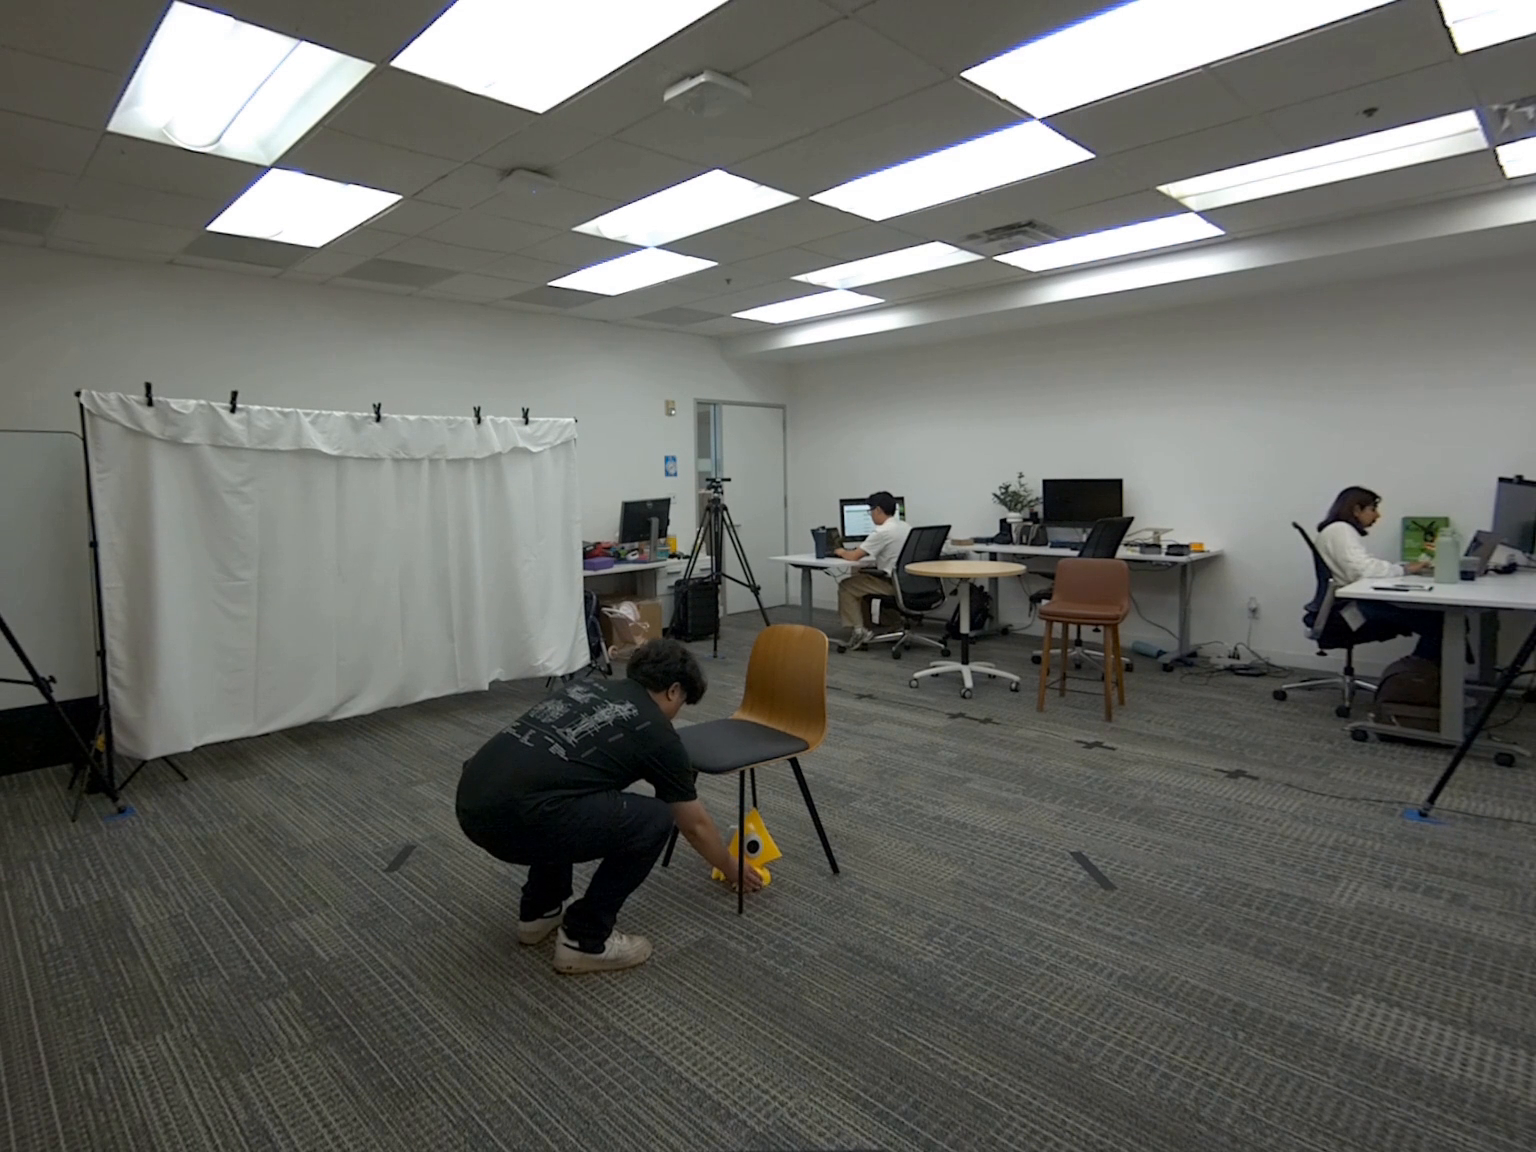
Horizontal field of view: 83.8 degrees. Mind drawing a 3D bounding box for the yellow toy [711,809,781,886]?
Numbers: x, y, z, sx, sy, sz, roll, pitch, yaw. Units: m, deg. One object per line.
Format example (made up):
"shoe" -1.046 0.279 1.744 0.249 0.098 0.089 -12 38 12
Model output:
"yellow toy" -0.085 0.944 2.993 0.188 0.230 0.211 -6 5 -43
